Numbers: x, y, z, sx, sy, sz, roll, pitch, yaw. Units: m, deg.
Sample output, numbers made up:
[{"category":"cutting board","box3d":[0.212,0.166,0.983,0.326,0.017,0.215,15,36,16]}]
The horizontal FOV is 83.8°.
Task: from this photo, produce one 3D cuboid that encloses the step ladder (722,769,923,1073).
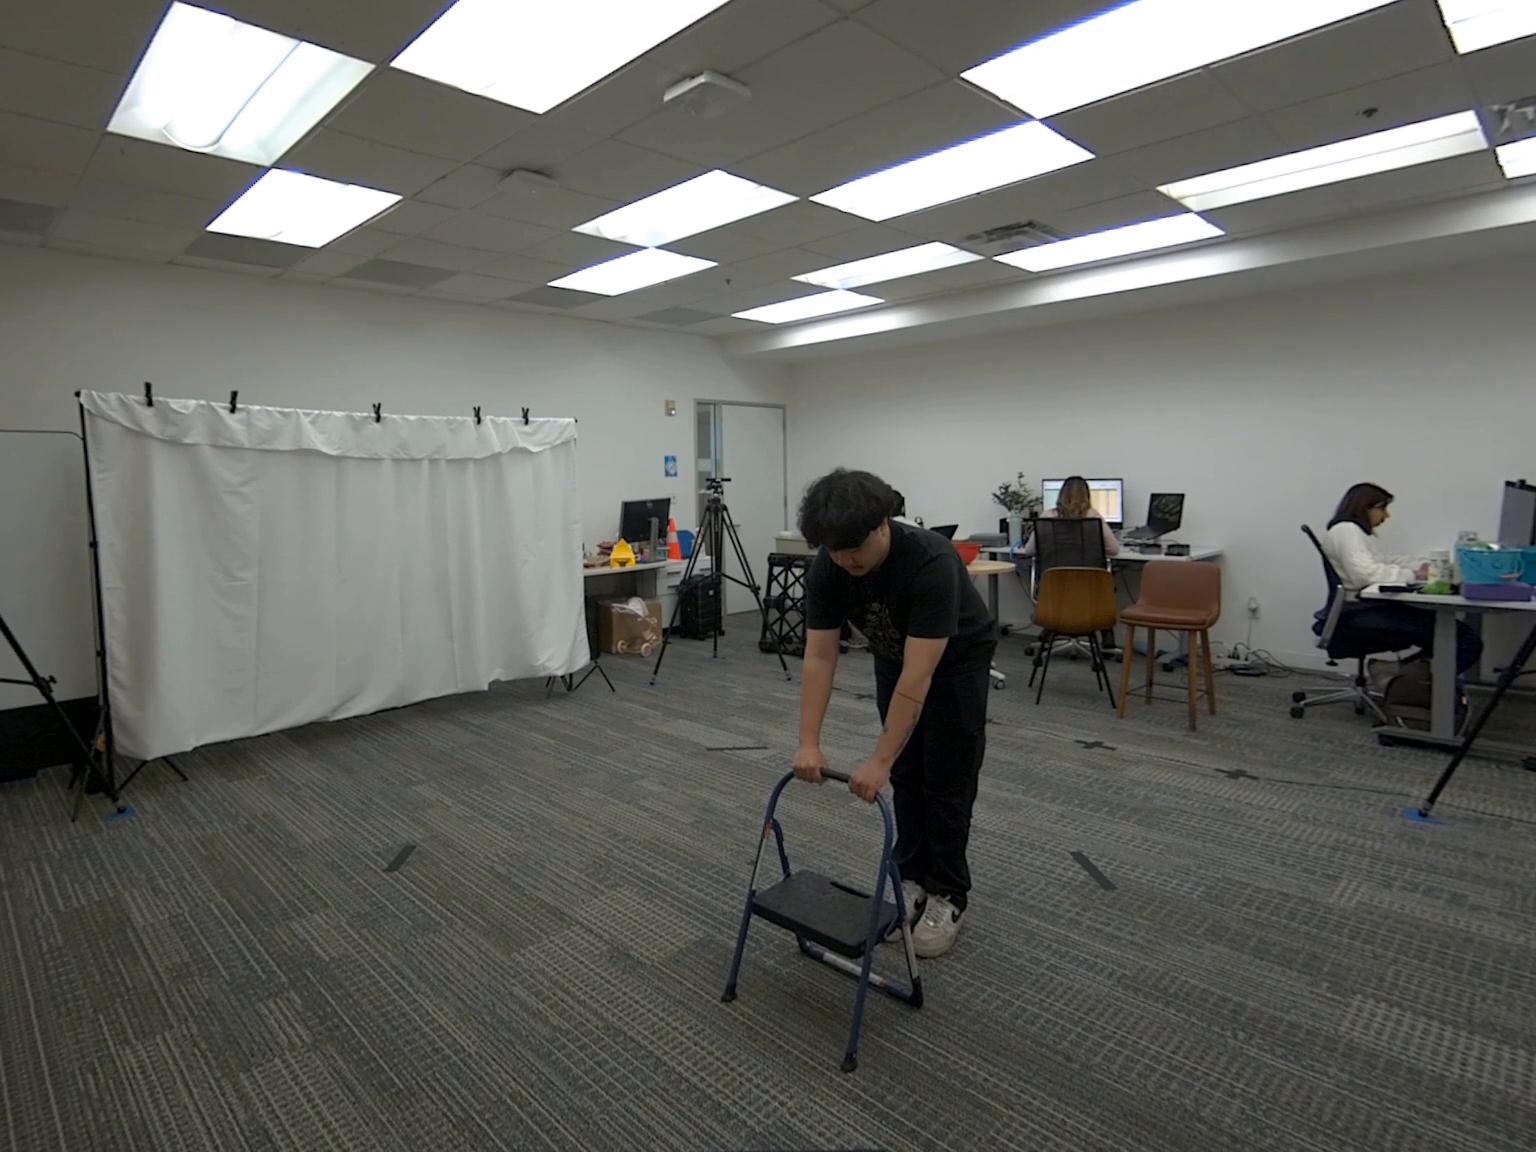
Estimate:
[{"category":"step ladder","box3d":[0.145,0.838,2.252,0.444,0.603,0.340,4,8,42]}]
